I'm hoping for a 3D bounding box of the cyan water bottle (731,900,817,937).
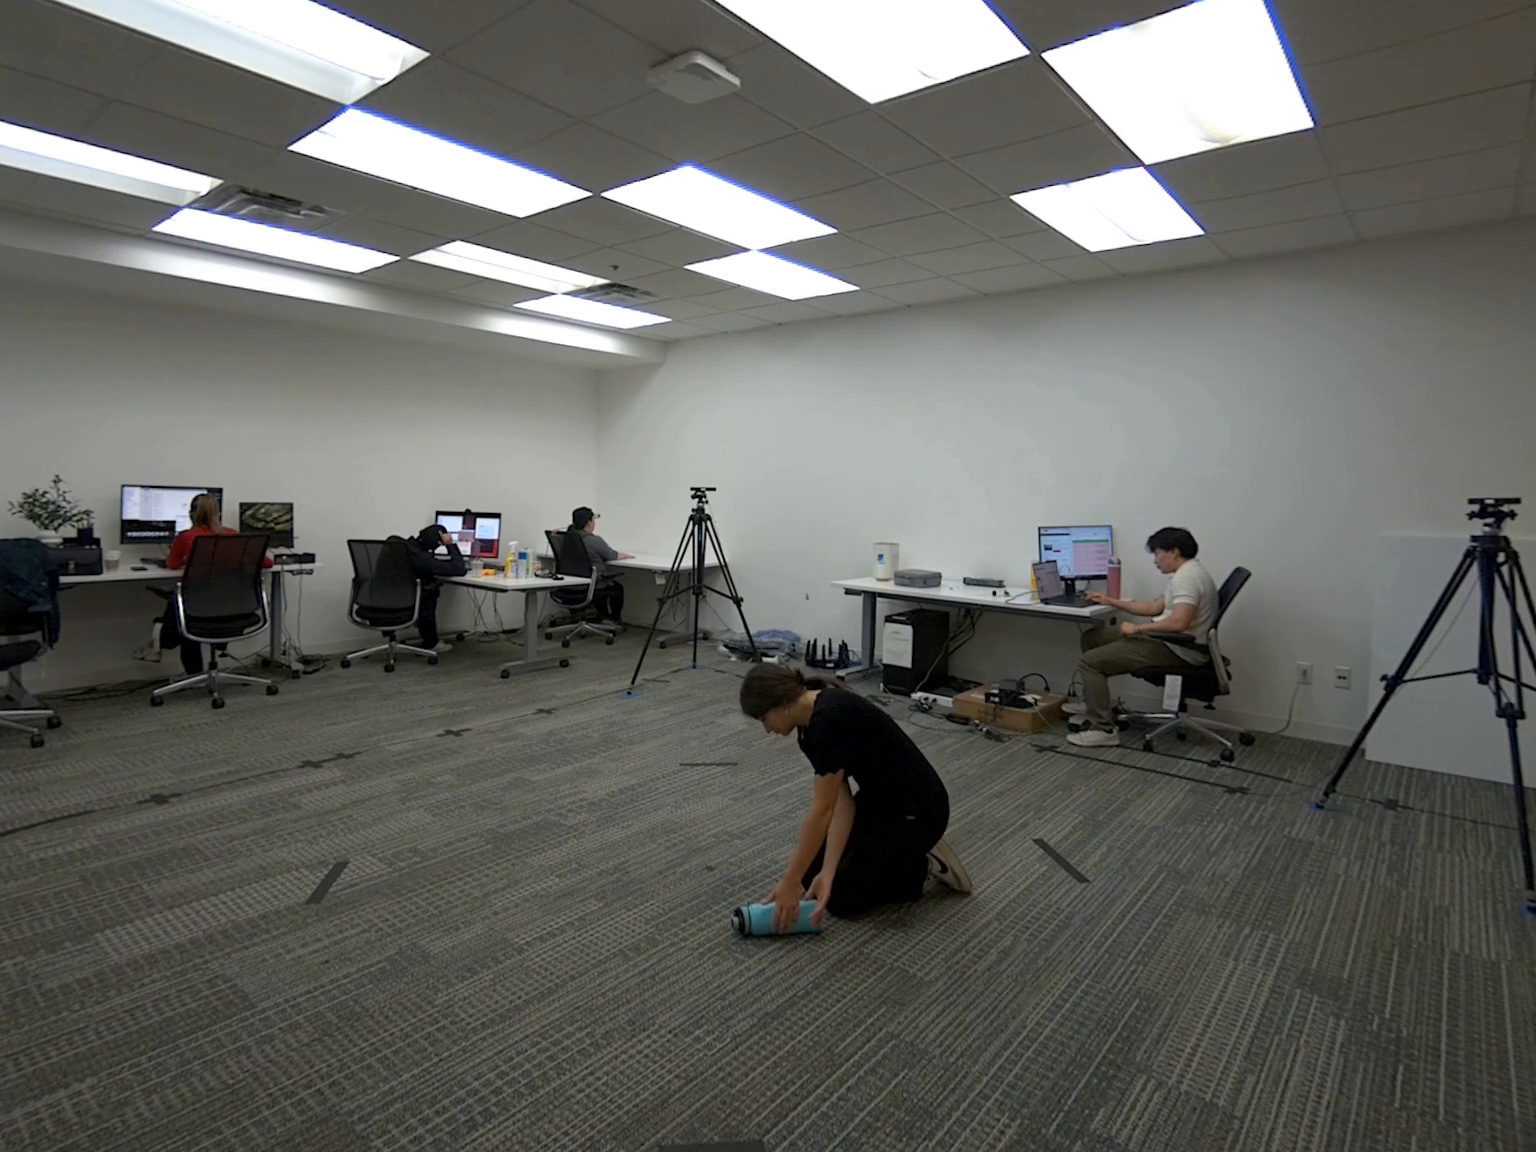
[{"bbox_3d":[0.015,1.070,2.672,0.281,0.092,0.093,0,4,-8],"label":"cyan water bottle"}]
